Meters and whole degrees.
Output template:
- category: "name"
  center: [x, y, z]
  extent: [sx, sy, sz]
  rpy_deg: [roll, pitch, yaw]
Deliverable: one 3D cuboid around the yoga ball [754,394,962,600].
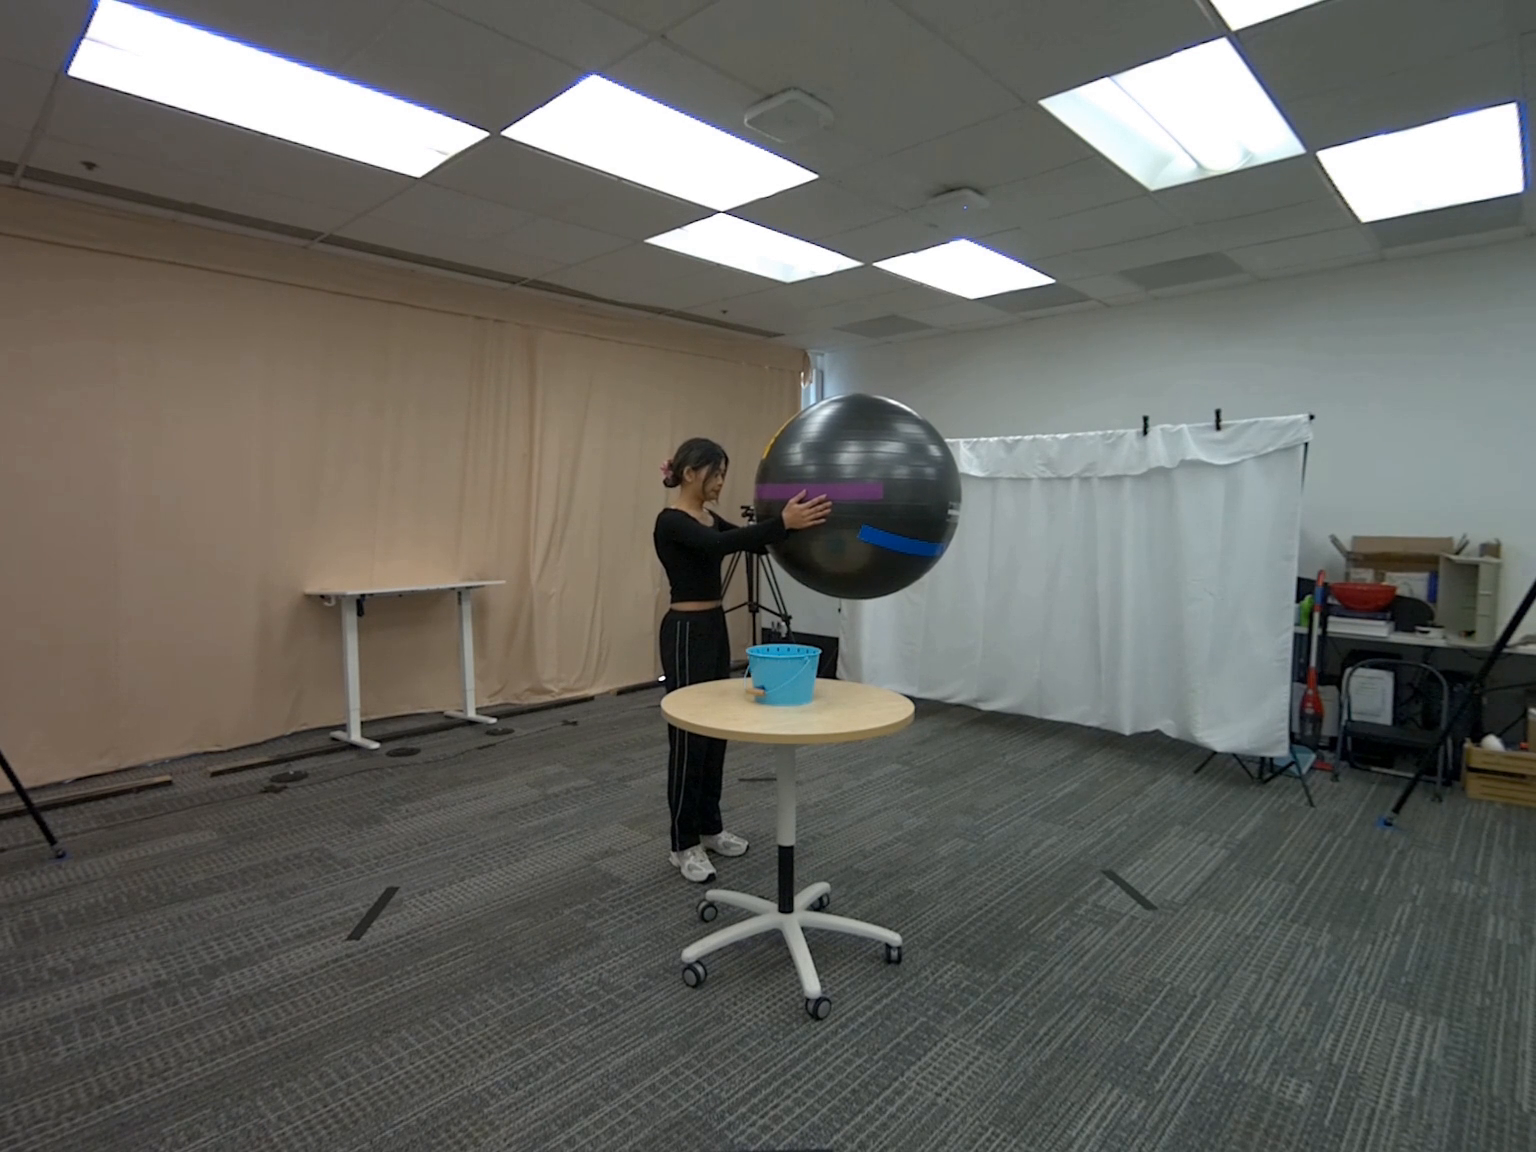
- category: "yoga ball"
  center: [0.339, -0.289, 3.128]
  extent: [0.757, 0.756, 0.760]
  rpy_deg: [0, 4, -2]
